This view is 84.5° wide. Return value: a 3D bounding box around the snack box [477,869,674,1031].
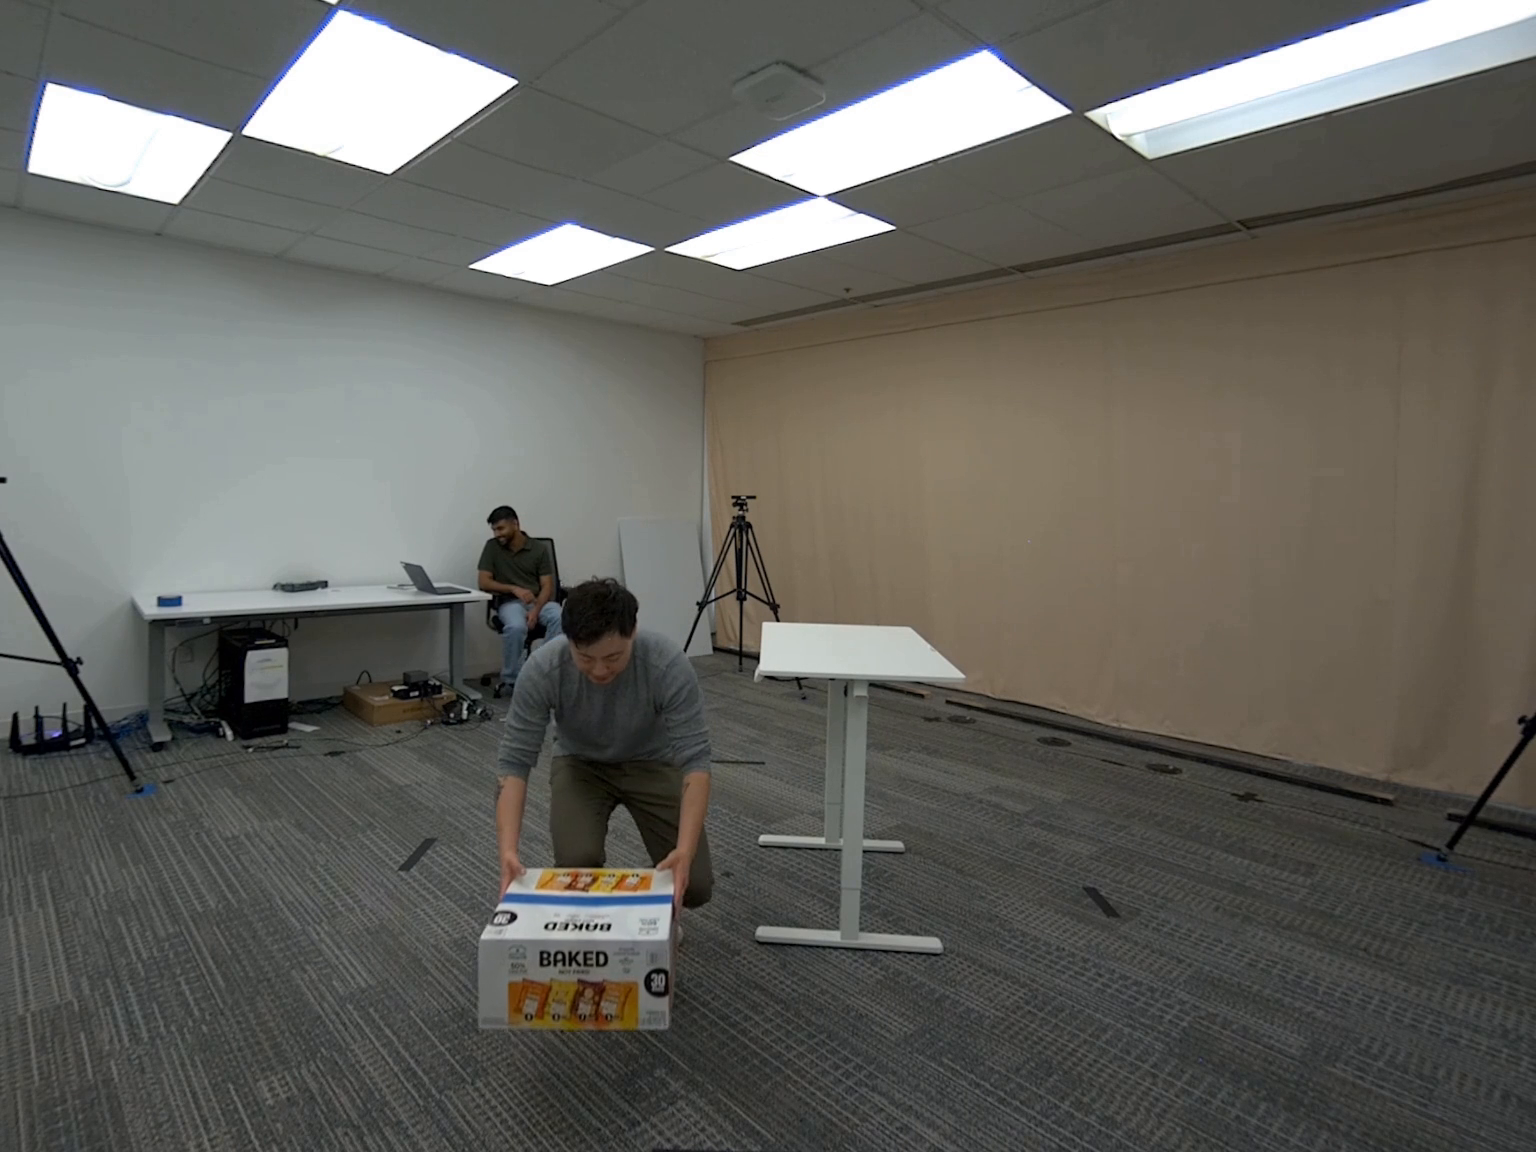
[{"bbox_3d":[-0.430,0.850,1.935,0.405,0.205,0.341,1,4,-2],"label":"snack box"}]
